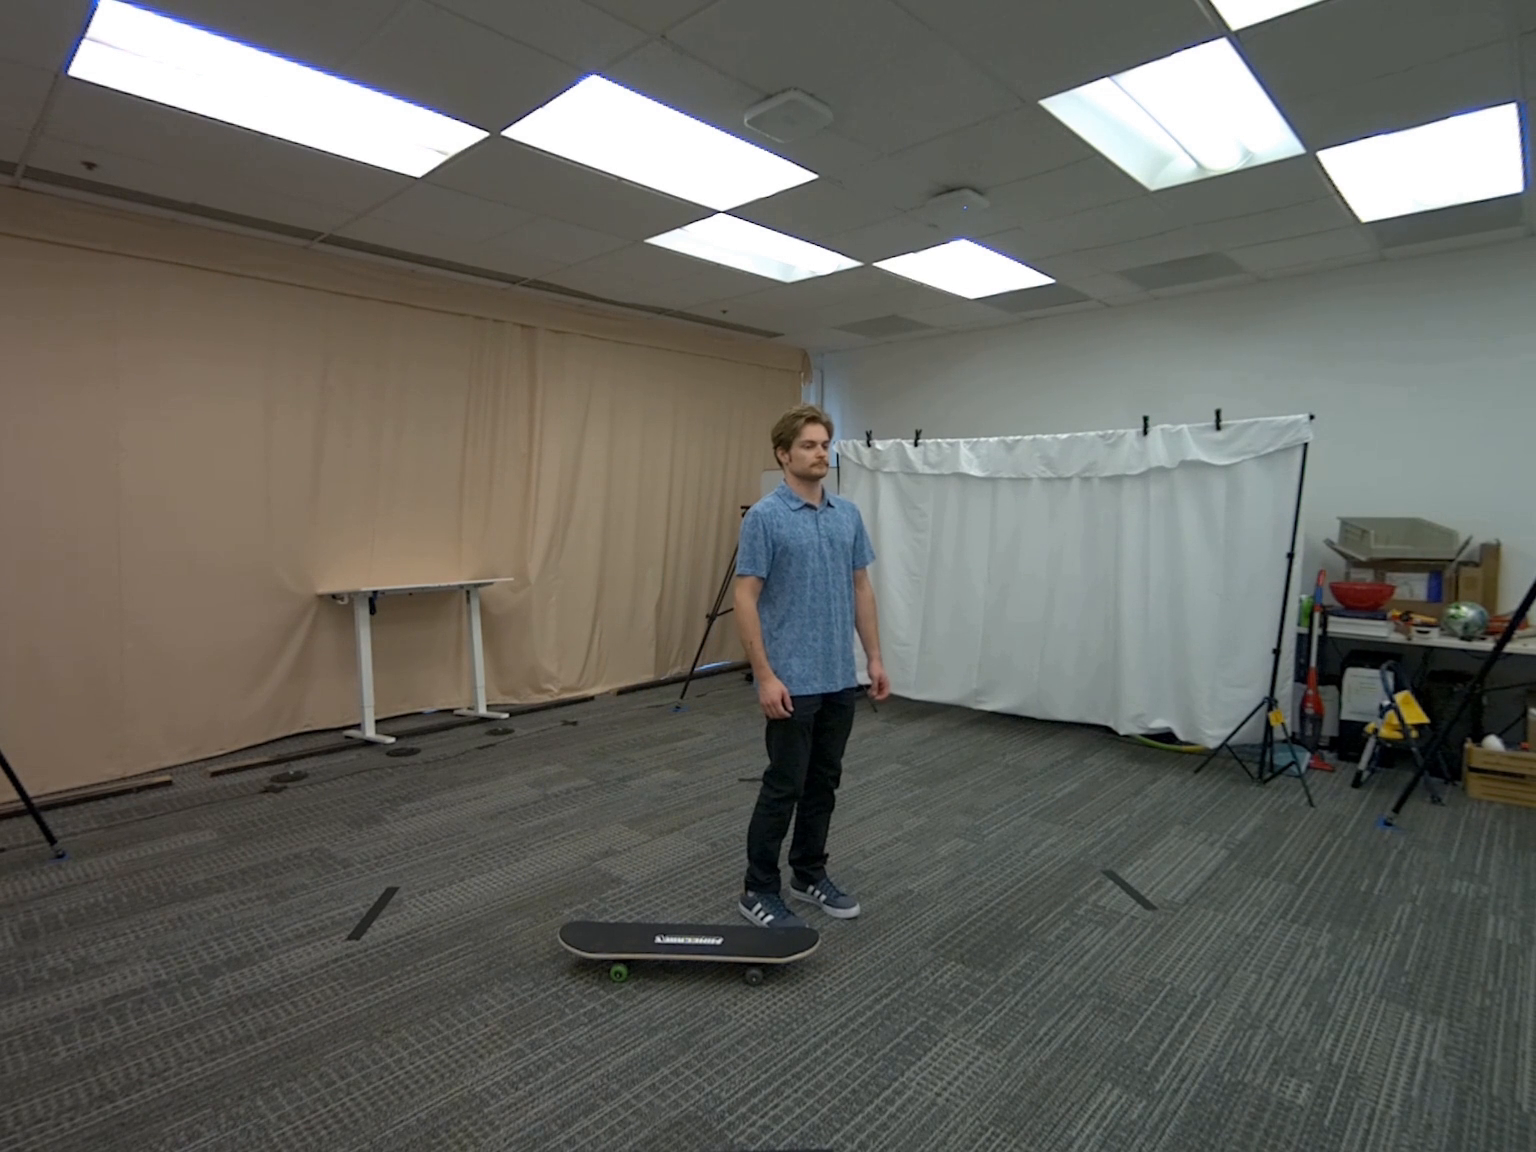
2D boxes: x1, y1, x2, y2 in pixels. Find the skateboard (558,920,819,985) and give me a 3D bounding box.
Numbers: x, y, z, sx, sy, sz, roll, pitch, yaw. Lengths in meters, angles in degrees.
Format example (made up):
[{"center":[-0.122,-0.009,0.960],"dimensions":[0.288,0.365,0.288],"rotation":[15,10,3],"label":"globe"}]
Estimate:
[{"center":[-0.233,1.124,2.530],"dimensions":[0.789,0.110,0.193],"rotation":[0,4,4],"label":"skateboard"}]
